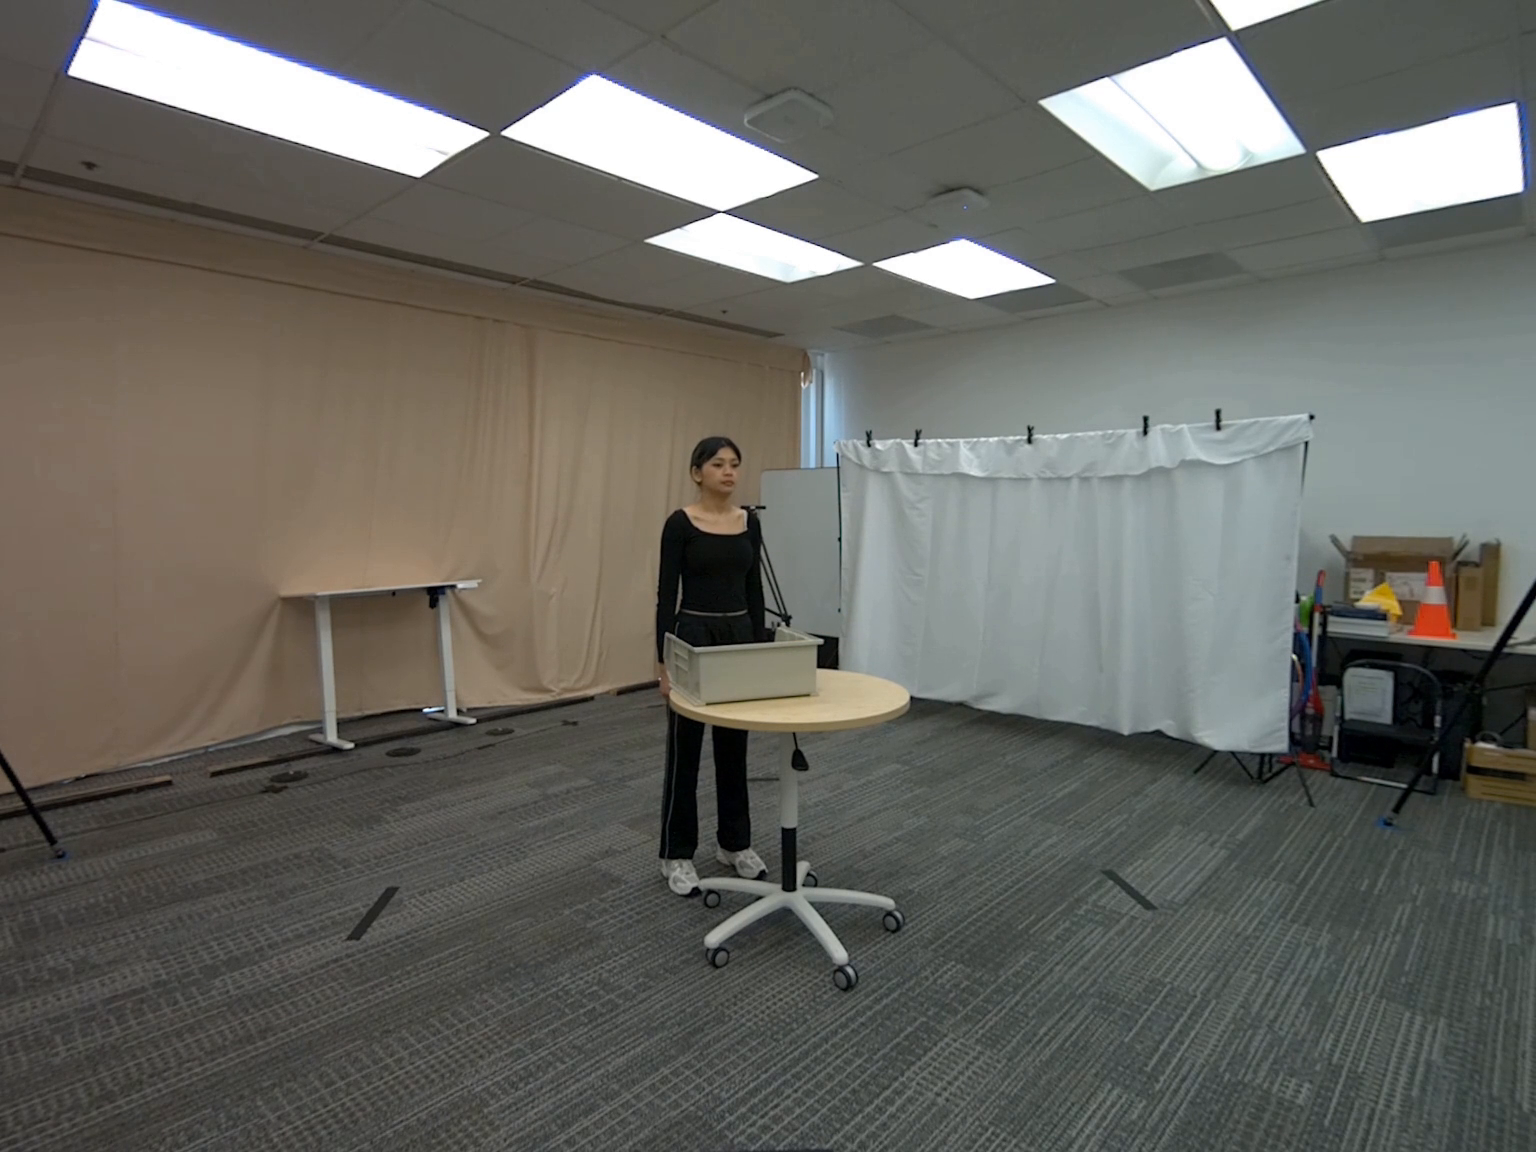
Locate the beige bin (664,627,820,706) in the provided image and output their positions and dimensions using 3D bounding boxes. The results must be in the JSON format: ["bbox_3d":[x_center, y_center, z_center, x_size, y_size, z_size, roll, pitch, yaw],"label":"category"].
[{"bbox_3d":[-0.091,0.280,2.751,0.414,0.188,0.386,-2,6,-20],"label":"beige bin"}]
